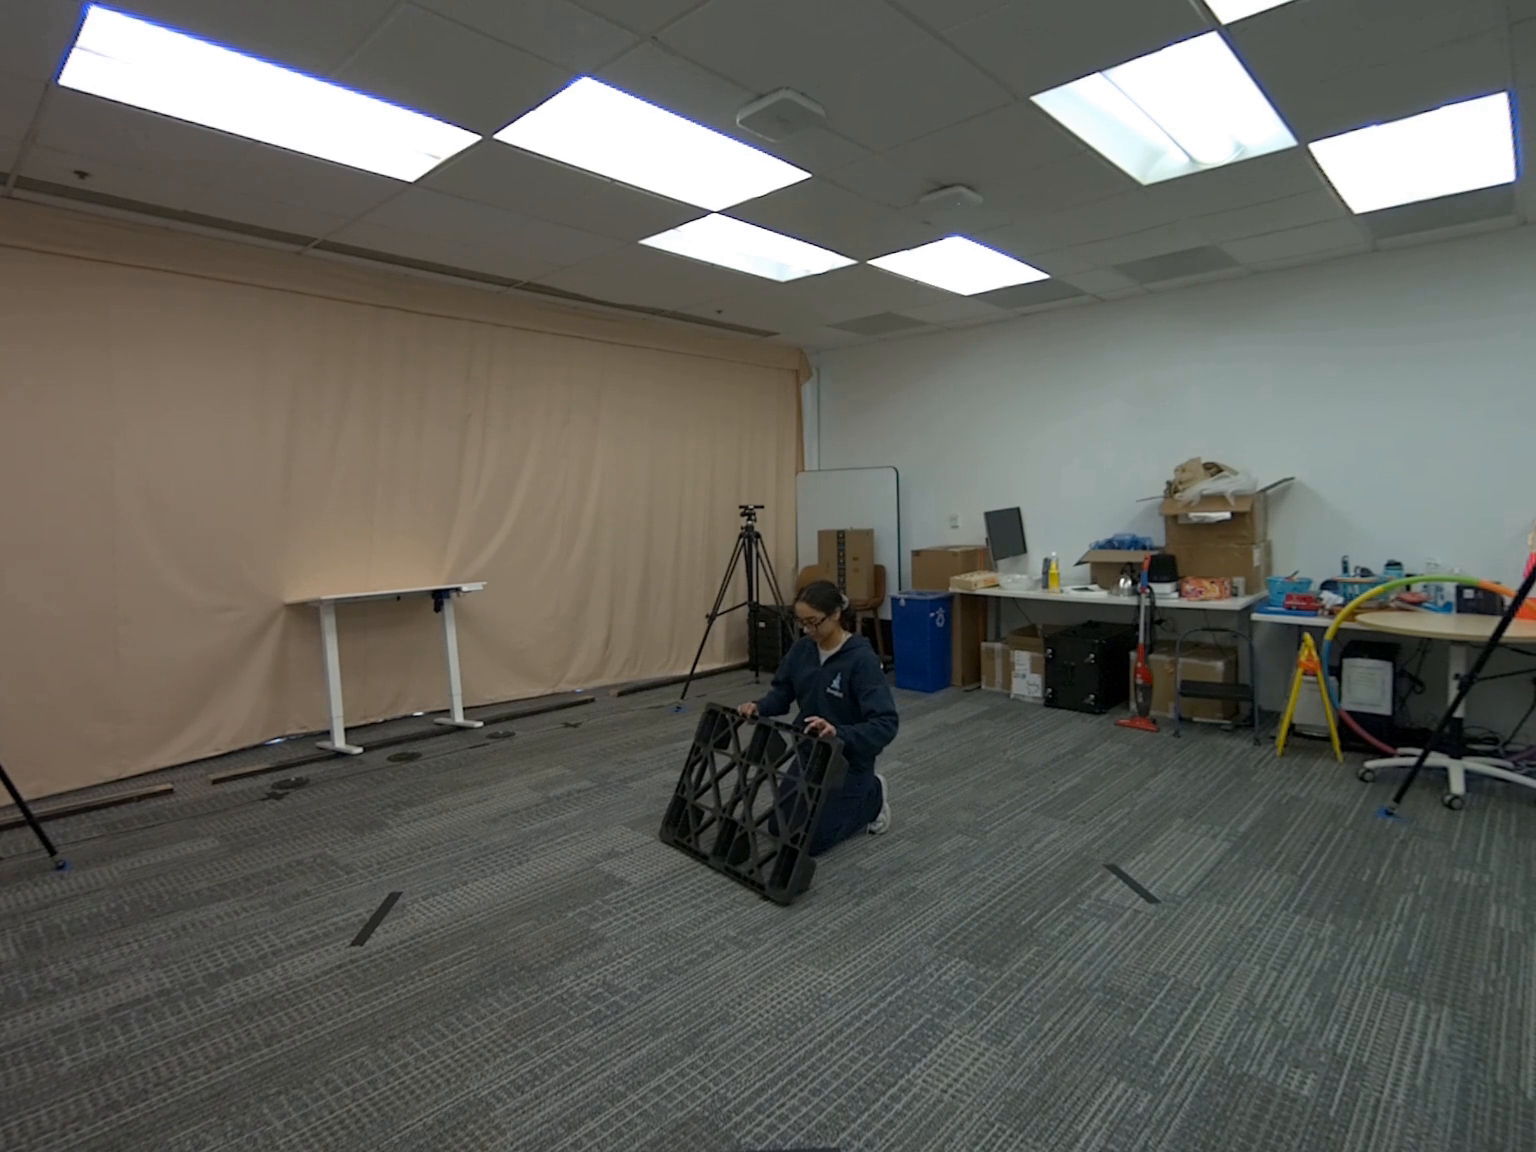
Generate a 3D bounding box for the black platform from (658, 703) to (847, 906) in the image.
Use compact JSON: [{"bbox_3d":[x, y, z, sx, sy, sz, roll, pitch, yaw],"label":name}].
[{"bbox_3d":[-0.059,0.862,3.305,0.138,0.607,0.831,29,-15,-36],"label":"black platform"}]
